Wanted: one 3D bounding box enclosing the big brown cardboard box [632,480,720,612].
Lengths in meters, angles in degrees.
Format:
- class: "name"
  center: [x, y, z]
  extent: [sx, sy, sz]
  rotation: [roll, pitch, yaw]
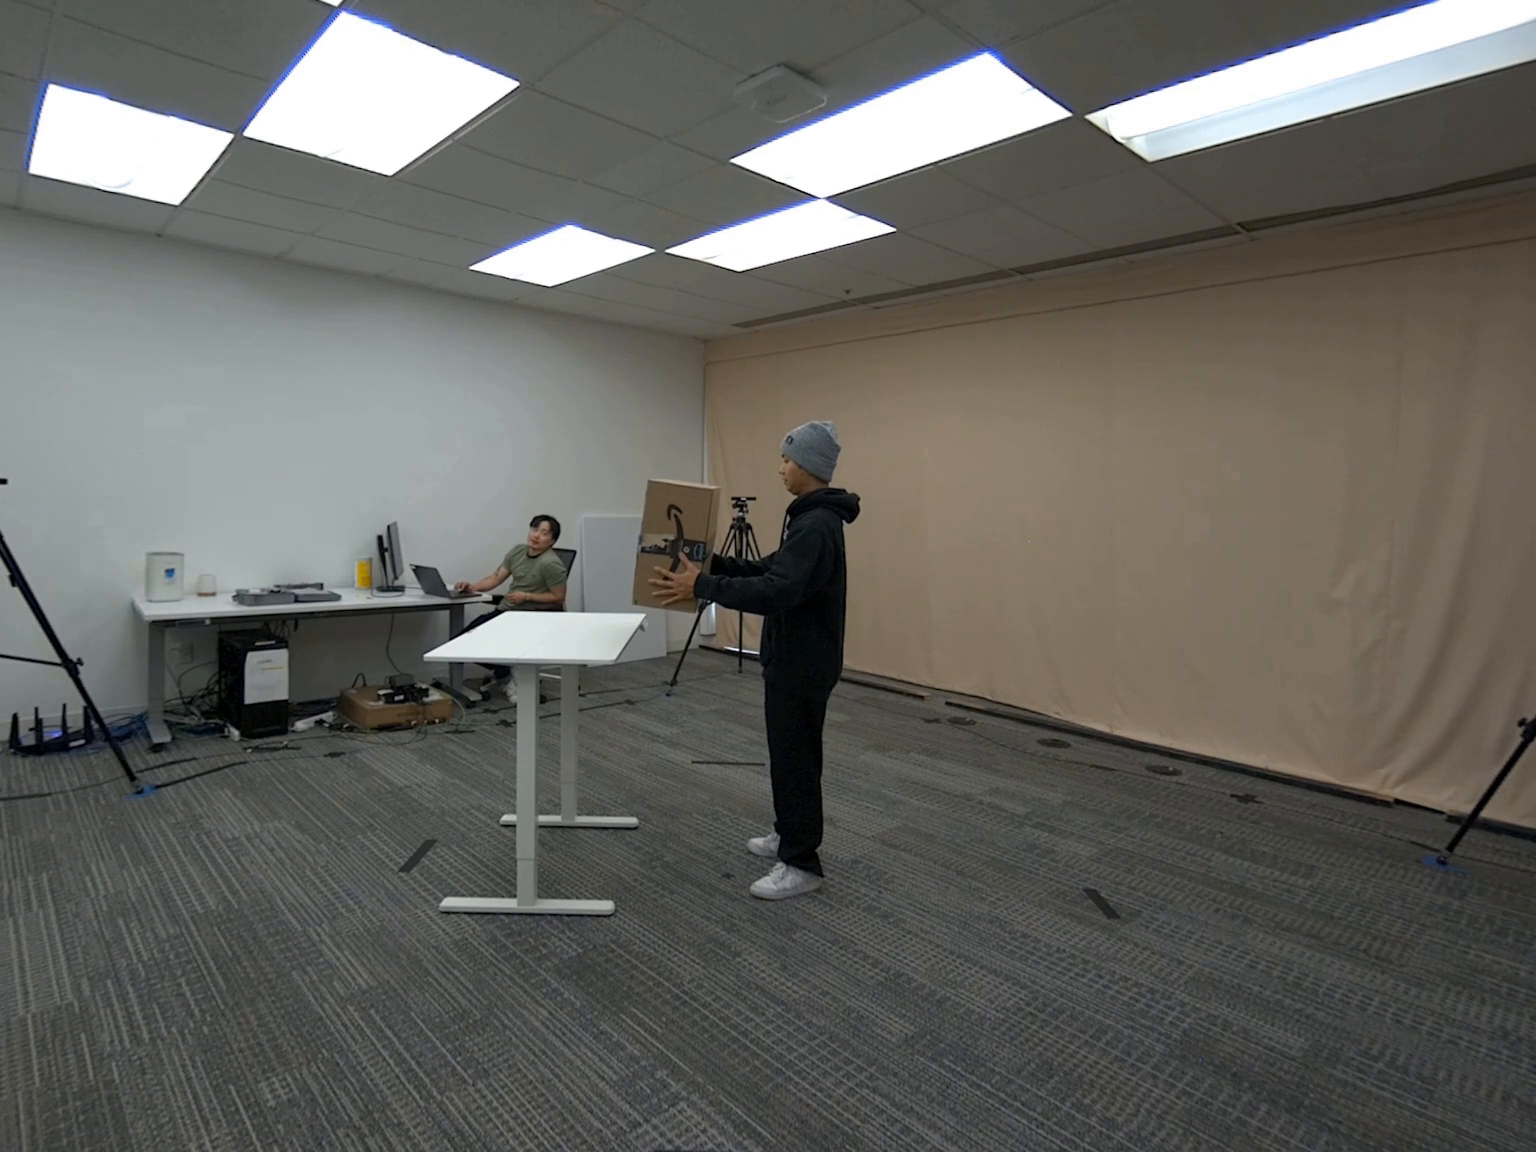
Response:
- class: "big brown cardboard box"
  center: [-0.323, -0.120, 3.018]
  extent: [0.233, 0.416, 0.591]
  rotation: [6, 7, -1]
